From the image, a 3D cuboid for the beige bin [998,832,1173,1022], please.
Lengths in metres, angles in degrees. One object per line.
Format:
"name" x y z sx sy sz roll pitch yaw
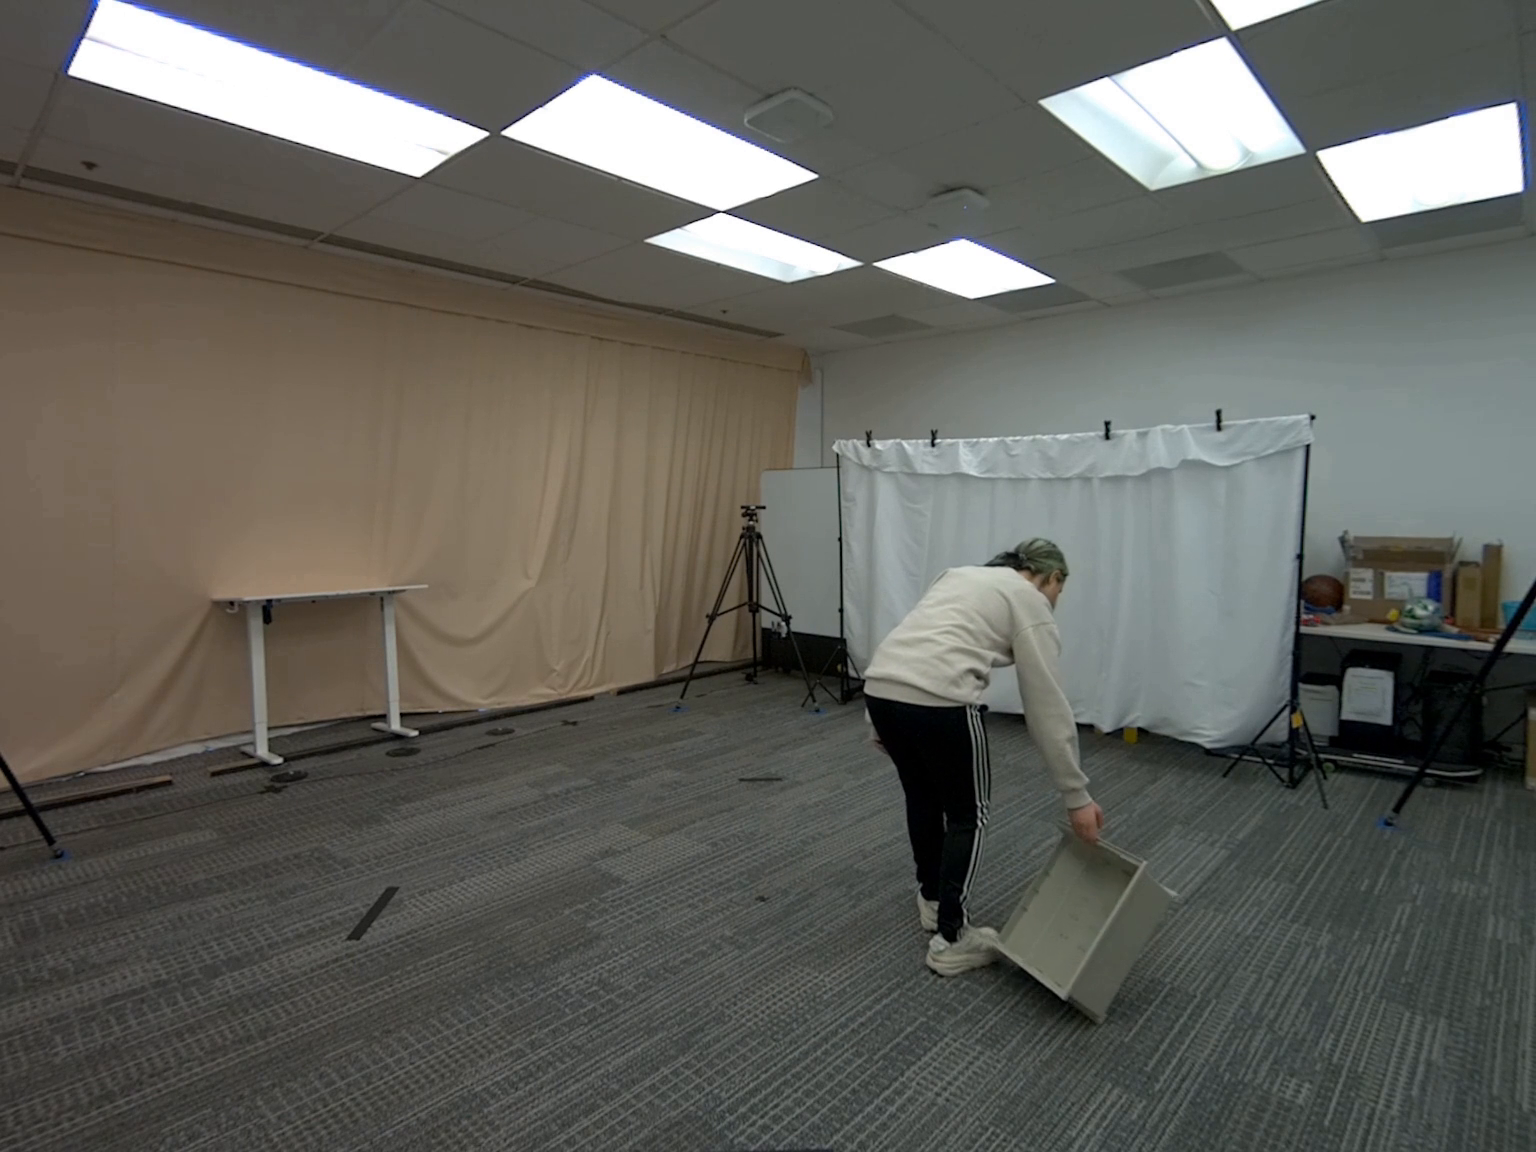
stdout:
"beige bin" 0.890 0.976 2.418 0.185 0.421 0.386 42 -11 -20
